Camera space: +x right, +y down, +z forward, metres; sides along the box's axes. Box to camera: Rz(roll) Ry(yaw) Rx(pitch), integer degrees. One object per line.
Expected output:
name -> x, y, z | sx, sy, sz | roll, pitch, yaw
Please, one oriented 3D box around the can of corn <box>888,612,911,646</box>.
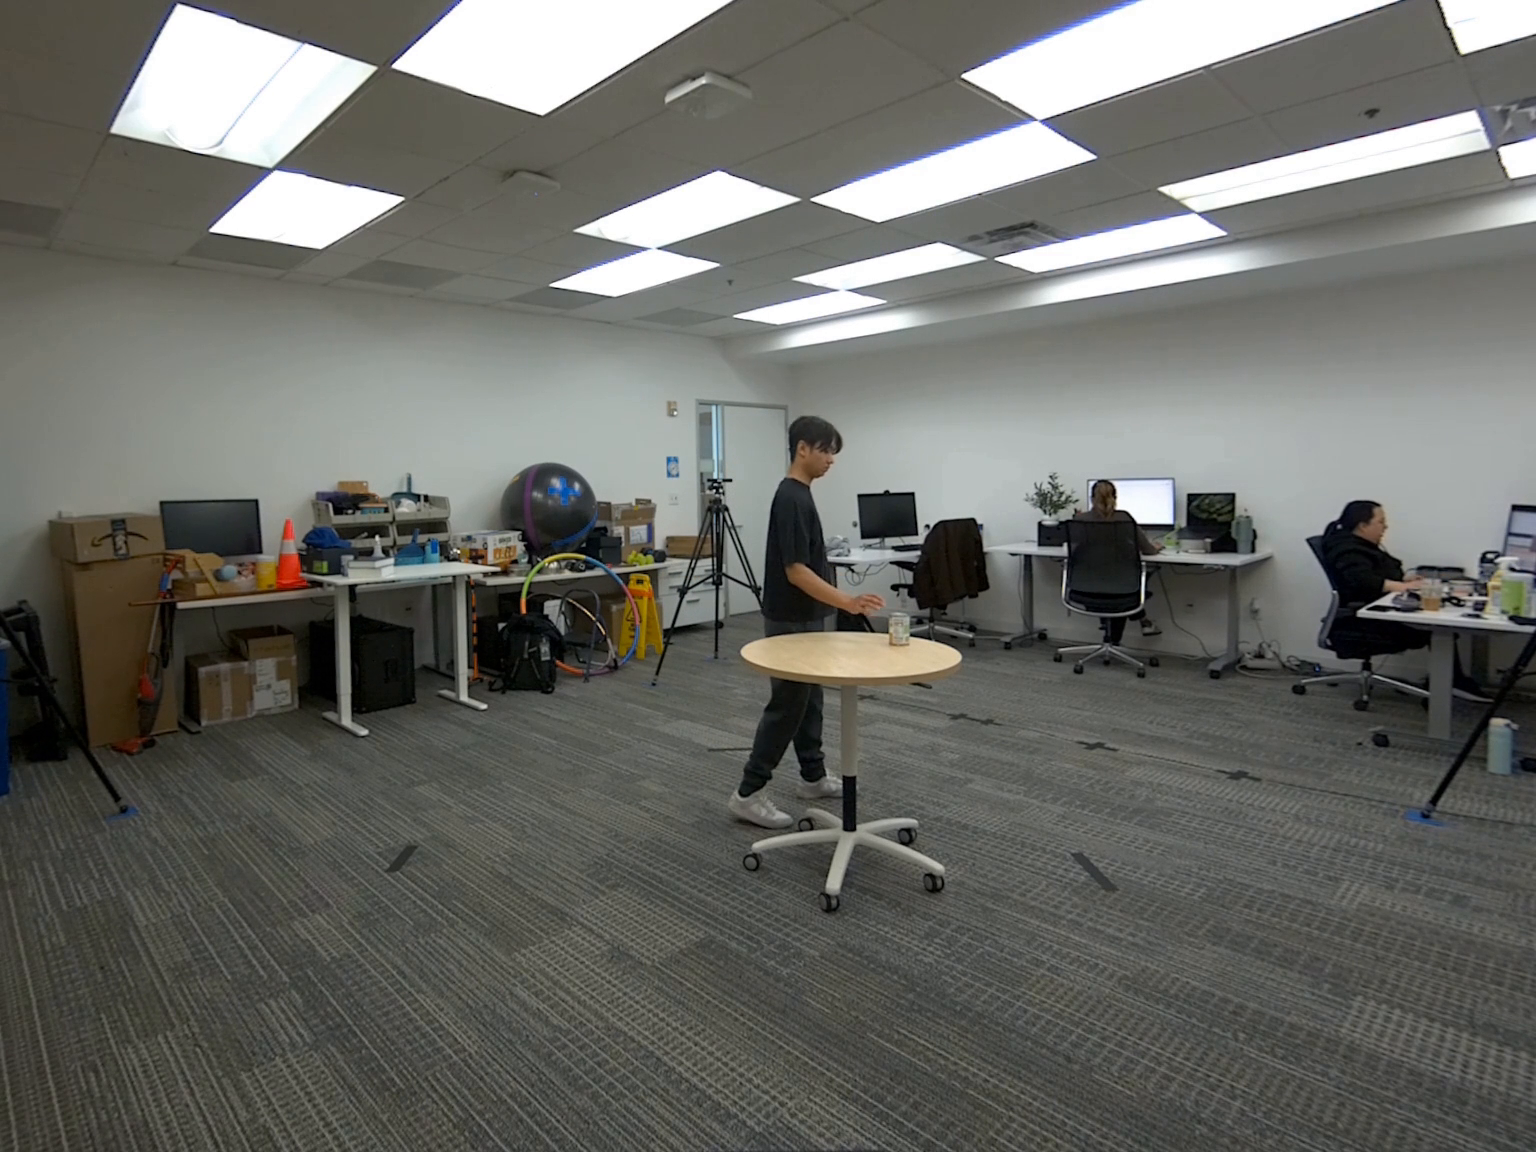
can of corn -> 0.487, 0.195, 3.130 | 0.074, 0.110, 0.074 | -2, 4, -1
